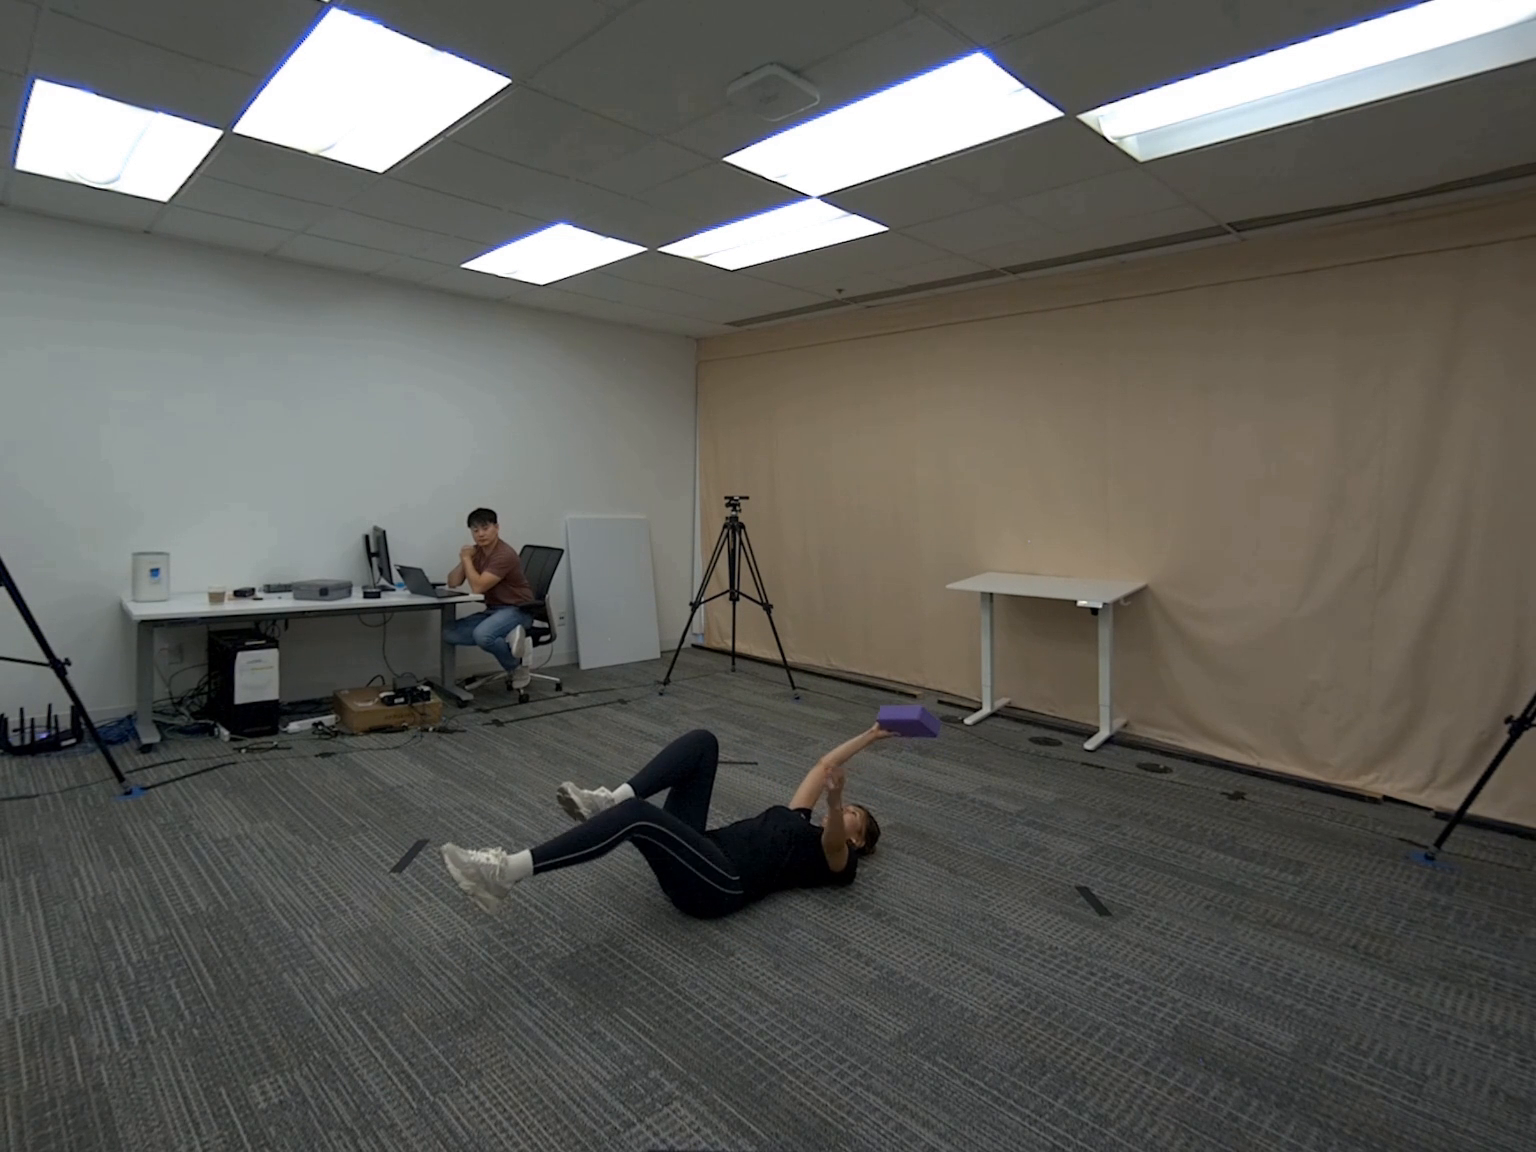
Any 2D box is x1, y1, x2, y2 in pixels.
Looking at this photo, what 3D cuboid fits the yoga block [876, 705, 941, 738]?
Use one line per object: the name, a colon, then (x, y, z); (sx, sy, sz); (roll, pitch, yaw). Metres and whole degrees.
yoga block: (0.578, 0.603, 3.506); (0.145, 0.077, 0.233); (40, -31, -27)
